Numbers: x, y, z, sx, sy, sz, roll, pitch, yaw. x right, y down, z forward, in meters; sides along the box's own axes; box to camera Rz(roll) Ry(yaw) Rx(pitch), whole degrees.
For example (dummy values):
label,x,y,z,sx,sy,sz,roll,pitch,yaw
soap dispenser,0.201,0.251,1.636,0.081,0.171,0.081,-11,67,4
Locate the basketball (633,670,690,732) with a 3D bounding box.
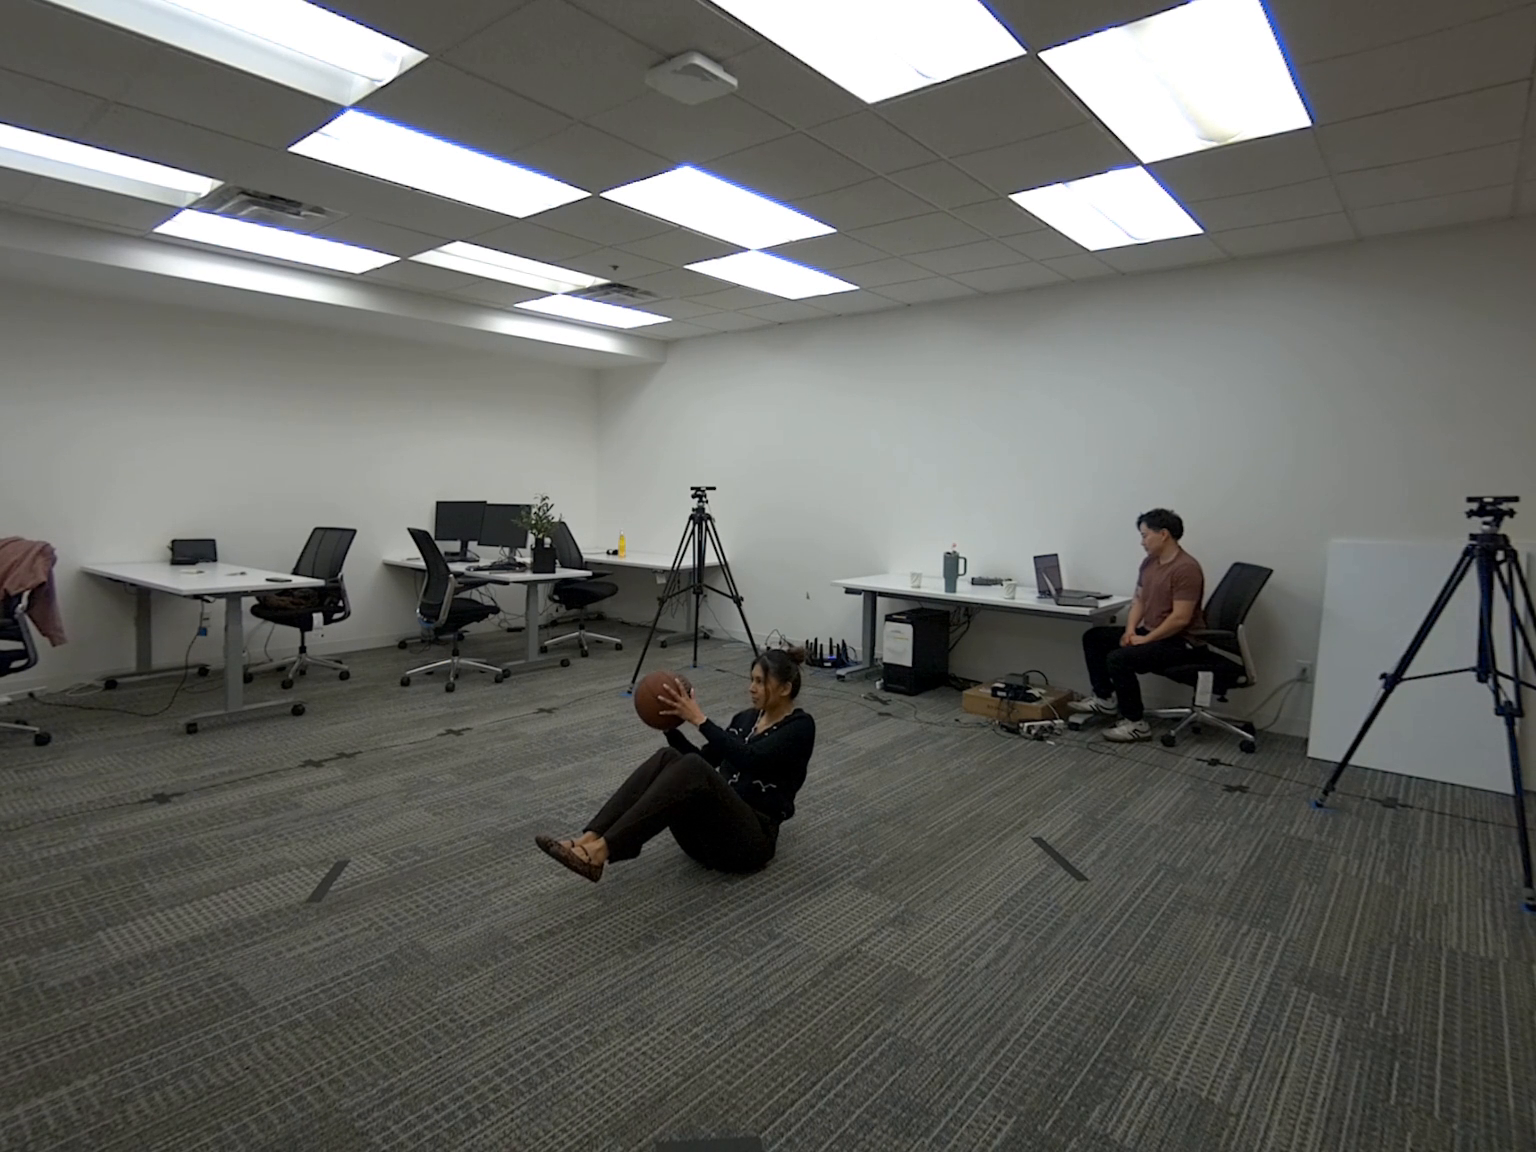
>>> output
label,x,y,z,sx,sy,sz,roll,pitch,yaw
basketball,-0.403,0.497,3.332,0.235,0.235,0.237,1,4,-2
